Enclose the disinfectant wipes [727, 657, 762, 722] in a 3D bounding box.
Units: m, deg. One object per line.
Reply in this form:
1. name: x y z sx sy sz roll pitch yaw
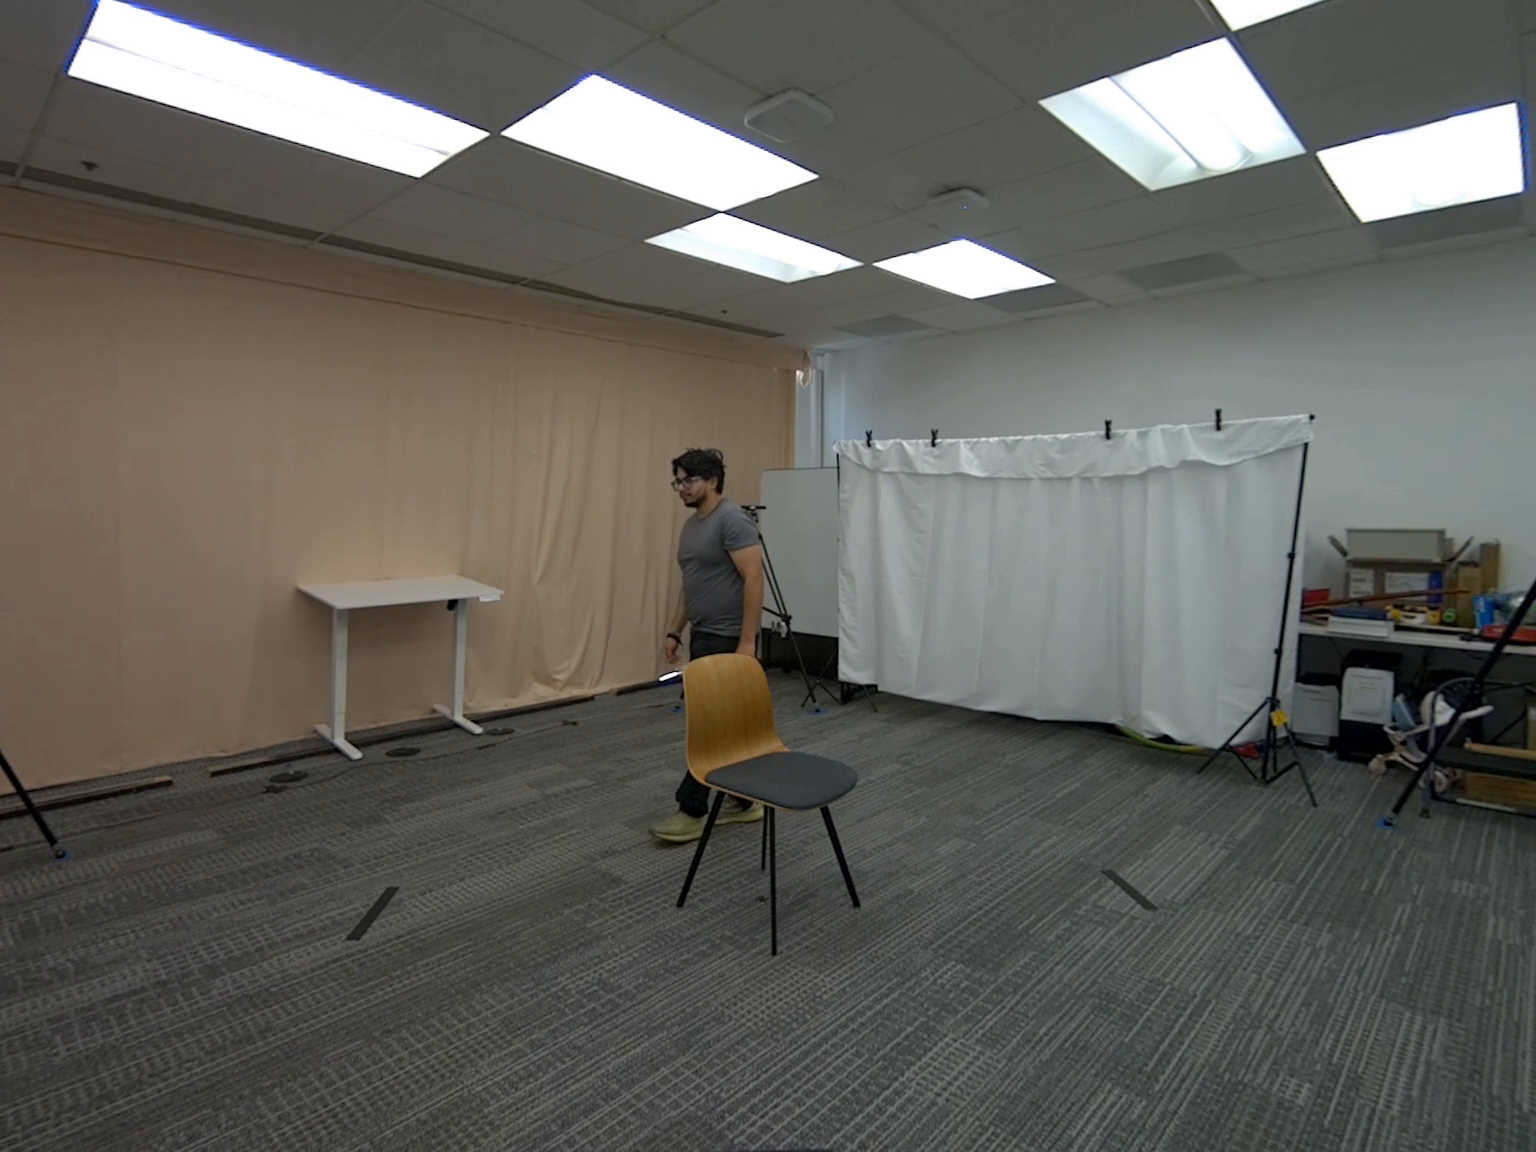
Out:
1. disinfectant wipes: -0.096 0.454 3.398 0.118 0.215 0.119 -4 14 -1
